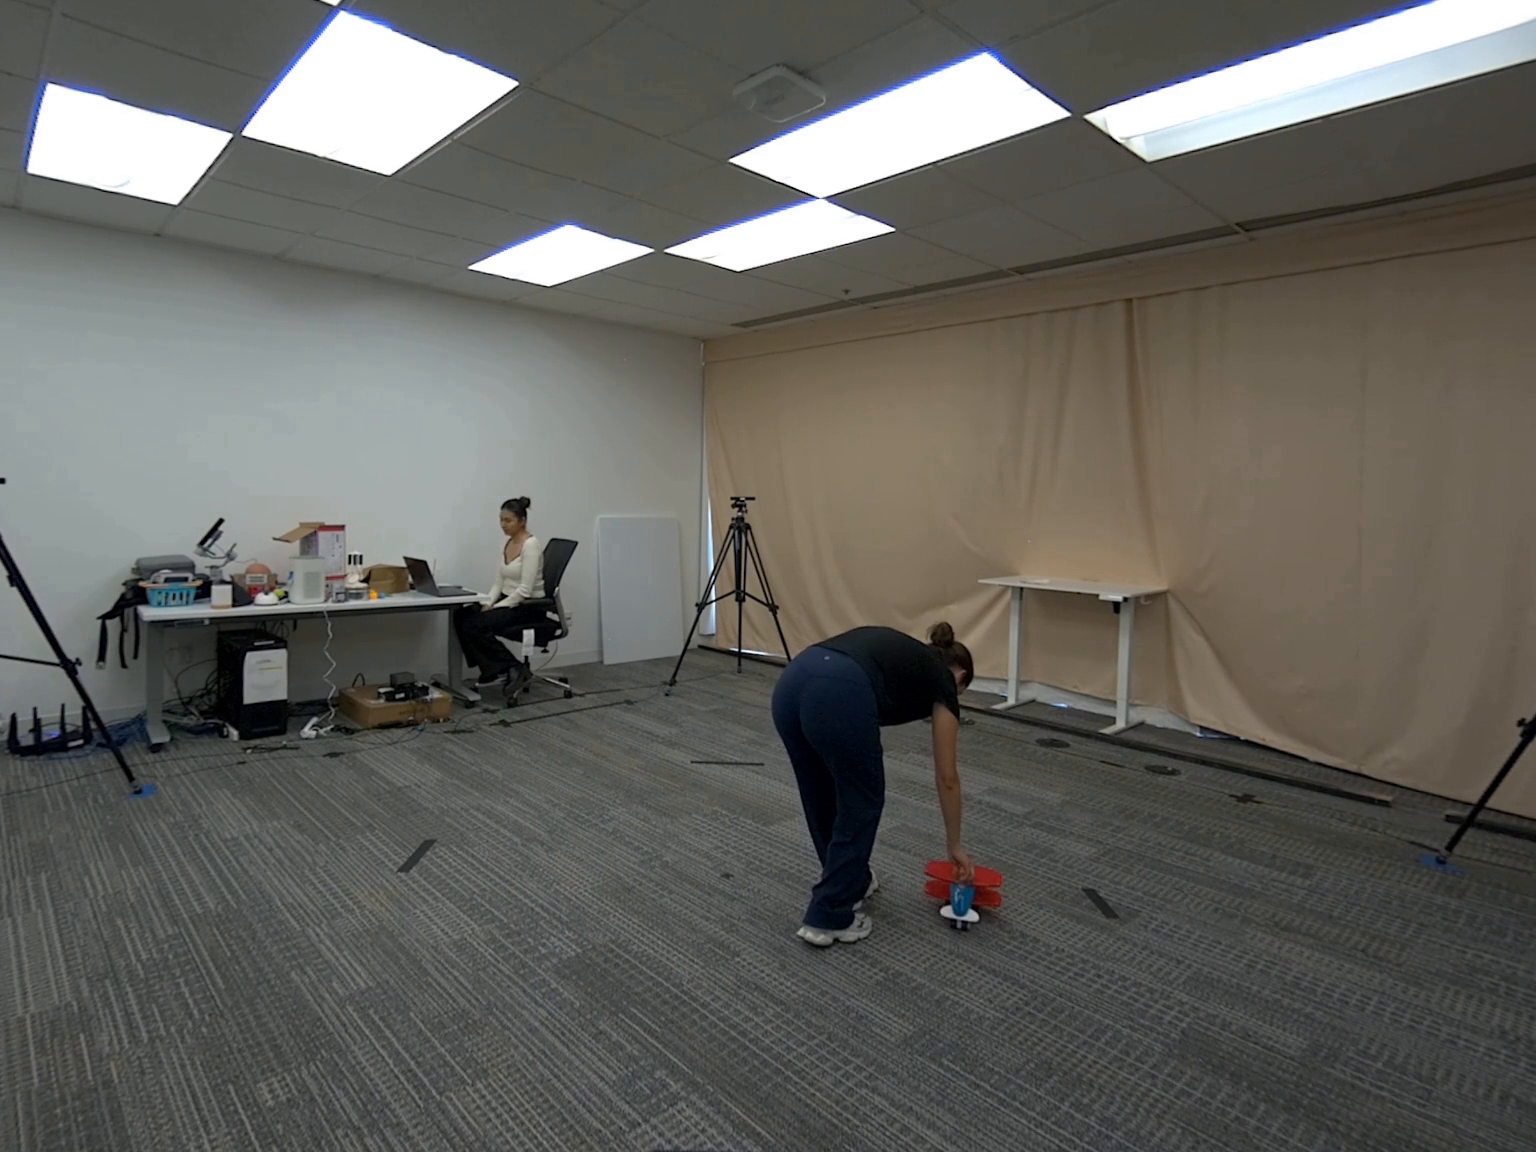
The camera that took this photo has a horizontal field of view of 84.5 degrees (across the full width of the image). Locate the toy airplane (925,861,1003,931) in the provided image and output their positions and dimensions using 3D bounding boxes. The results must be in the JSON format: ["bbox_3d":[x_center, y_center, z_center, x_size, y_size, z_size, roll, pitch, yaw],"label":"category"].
[{"bbox_3d":[0.666,1.077,2.829,0.249,0.156,0.262,1,3,-11],"label":"toy airplane"}]
